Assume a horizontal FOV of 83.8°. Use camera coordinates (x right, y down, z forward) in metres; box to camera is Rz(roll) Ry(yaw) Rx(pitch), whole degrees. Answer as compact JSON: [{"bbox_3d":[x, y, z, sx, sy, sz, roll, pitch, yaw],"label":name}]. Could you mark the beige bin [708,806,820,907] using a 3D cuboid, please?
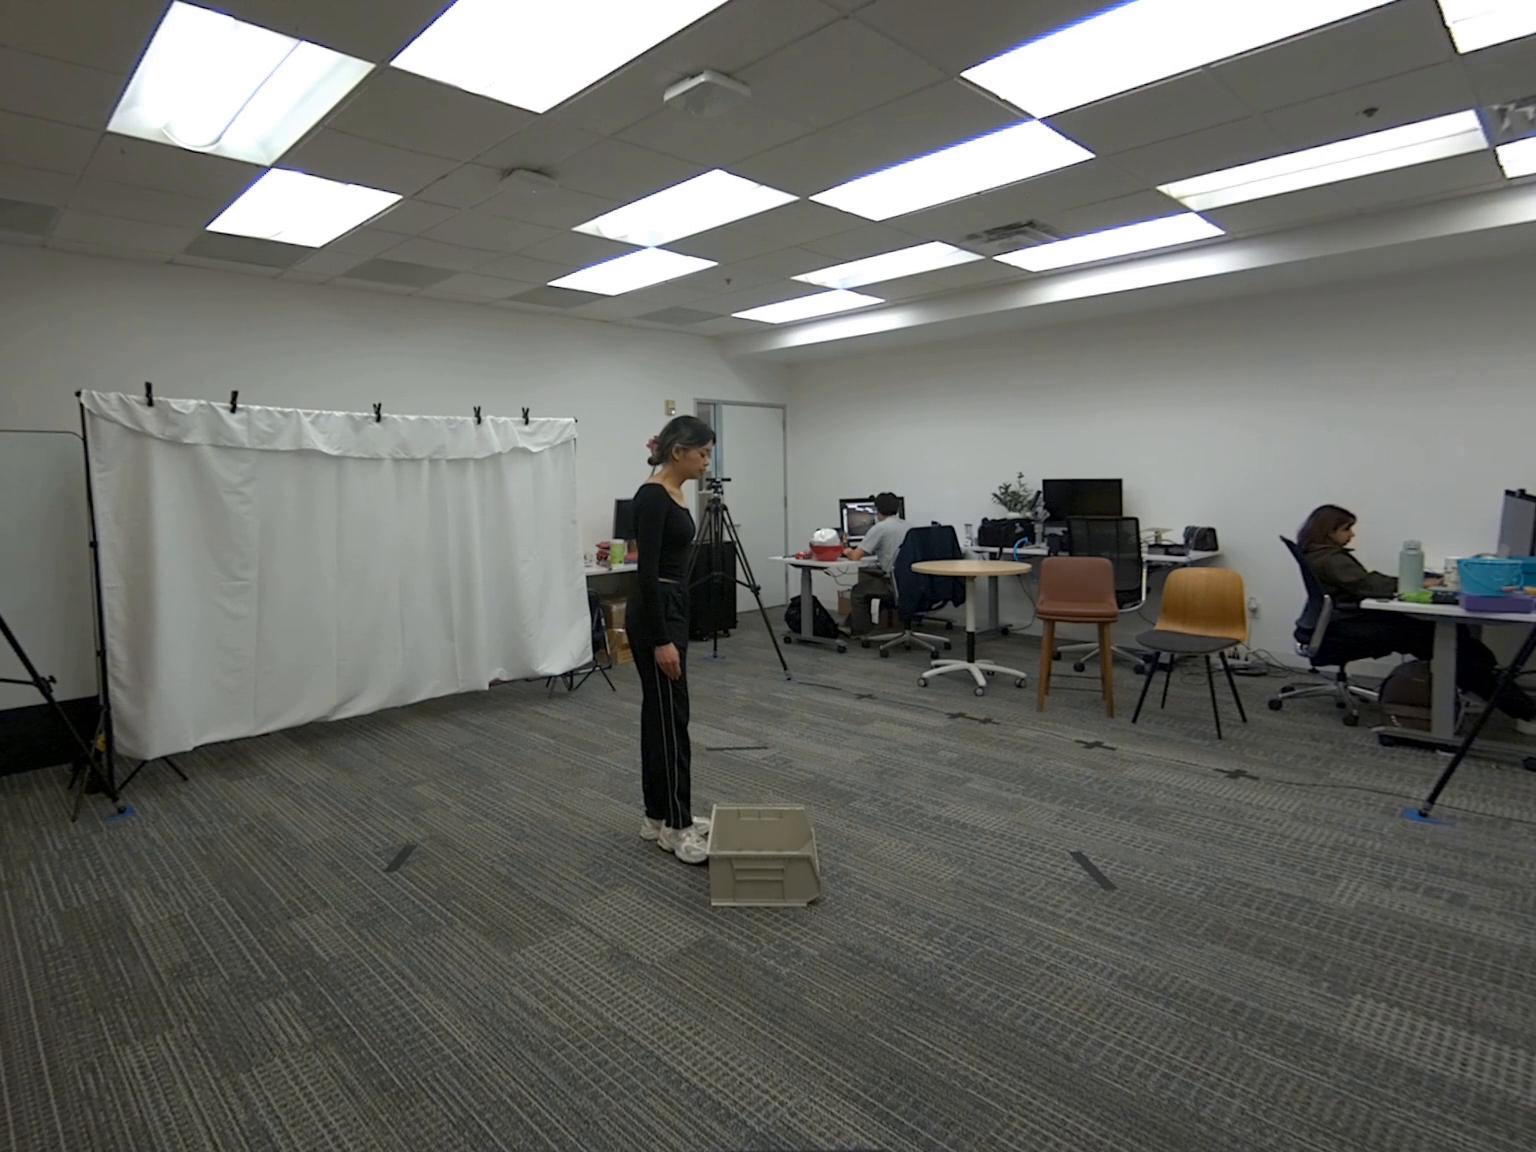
[{"bbox_3d":[-0.013,0.969,2.981,0.377,0.188,0.424,-1,7,0],"label":"beige bin"}]
